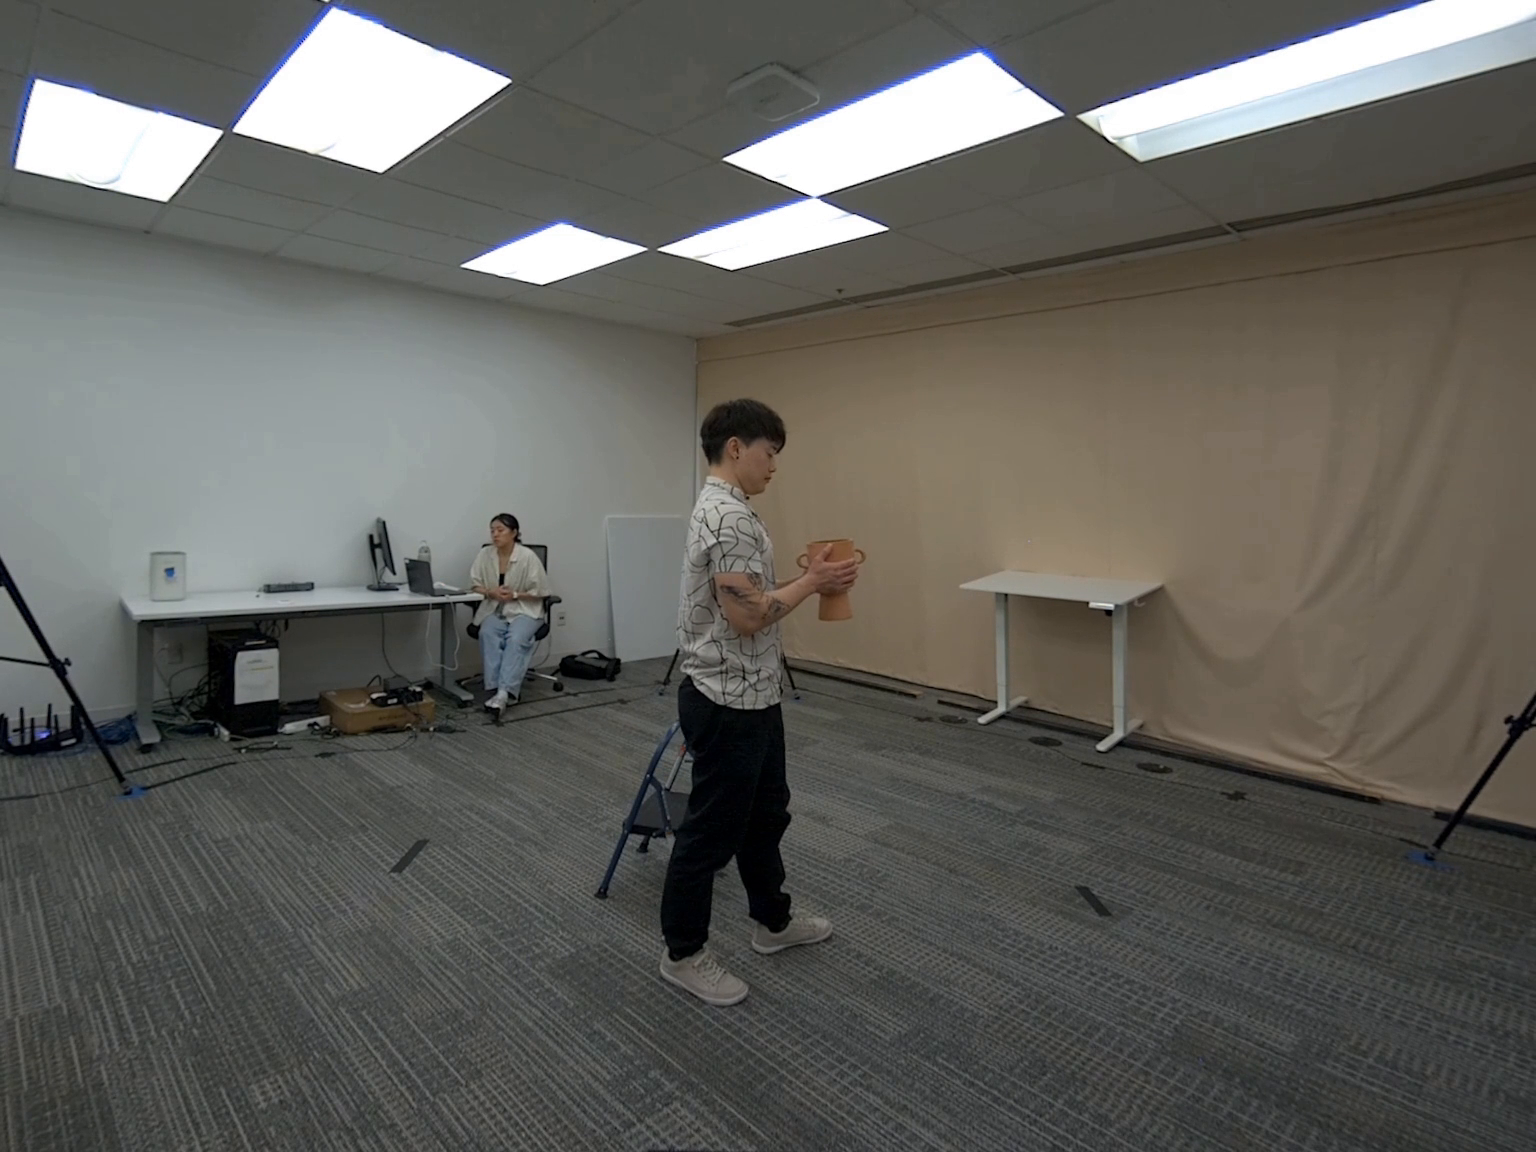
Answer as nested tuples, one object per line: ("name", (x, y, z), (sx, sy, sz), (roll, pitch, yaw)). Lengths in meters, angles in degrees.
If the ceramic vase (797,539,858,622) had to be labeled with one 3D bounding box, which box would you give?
("ceramic vase", (0.184, 0.010, 2.378), (0.162, 0.219, 0.132), (-3, 3, 34))
